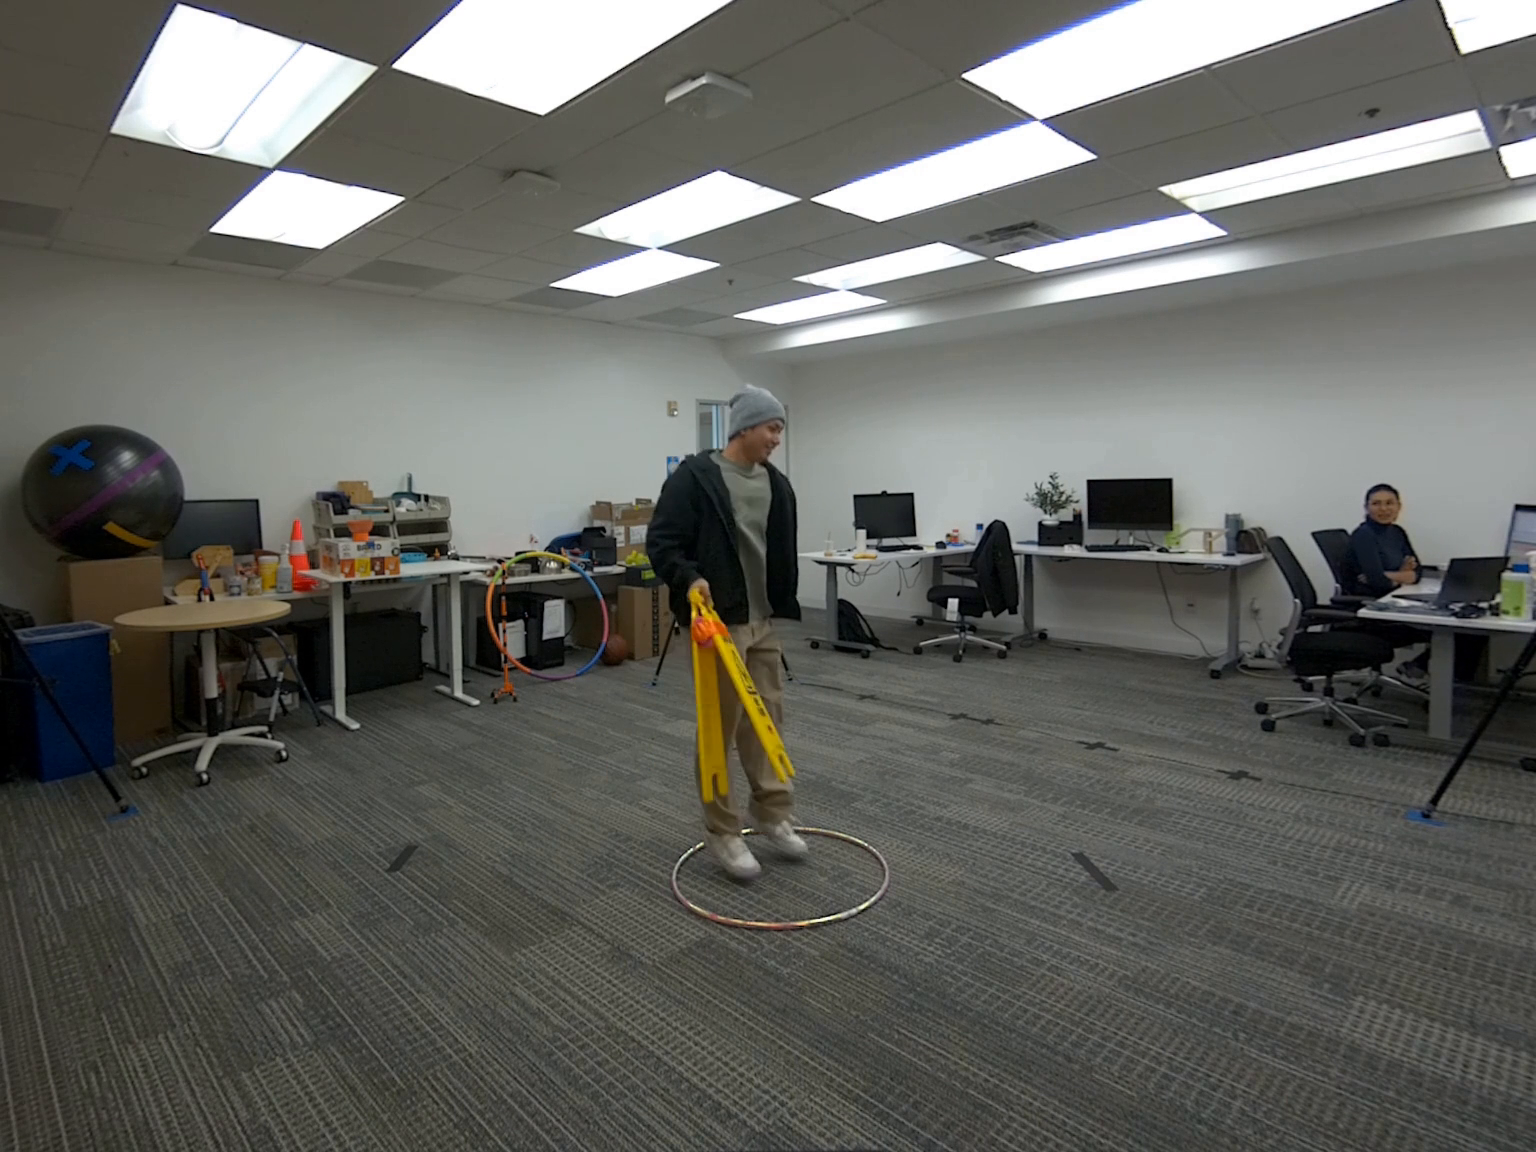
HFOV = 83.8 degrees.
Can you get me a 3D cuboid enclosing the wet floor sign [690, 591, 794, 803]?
[{"bbox_3d":[-0.149,0.378,2.773,0.291,0.655,0.277,-17,-12,6],"label":"wet floor sign"}]
